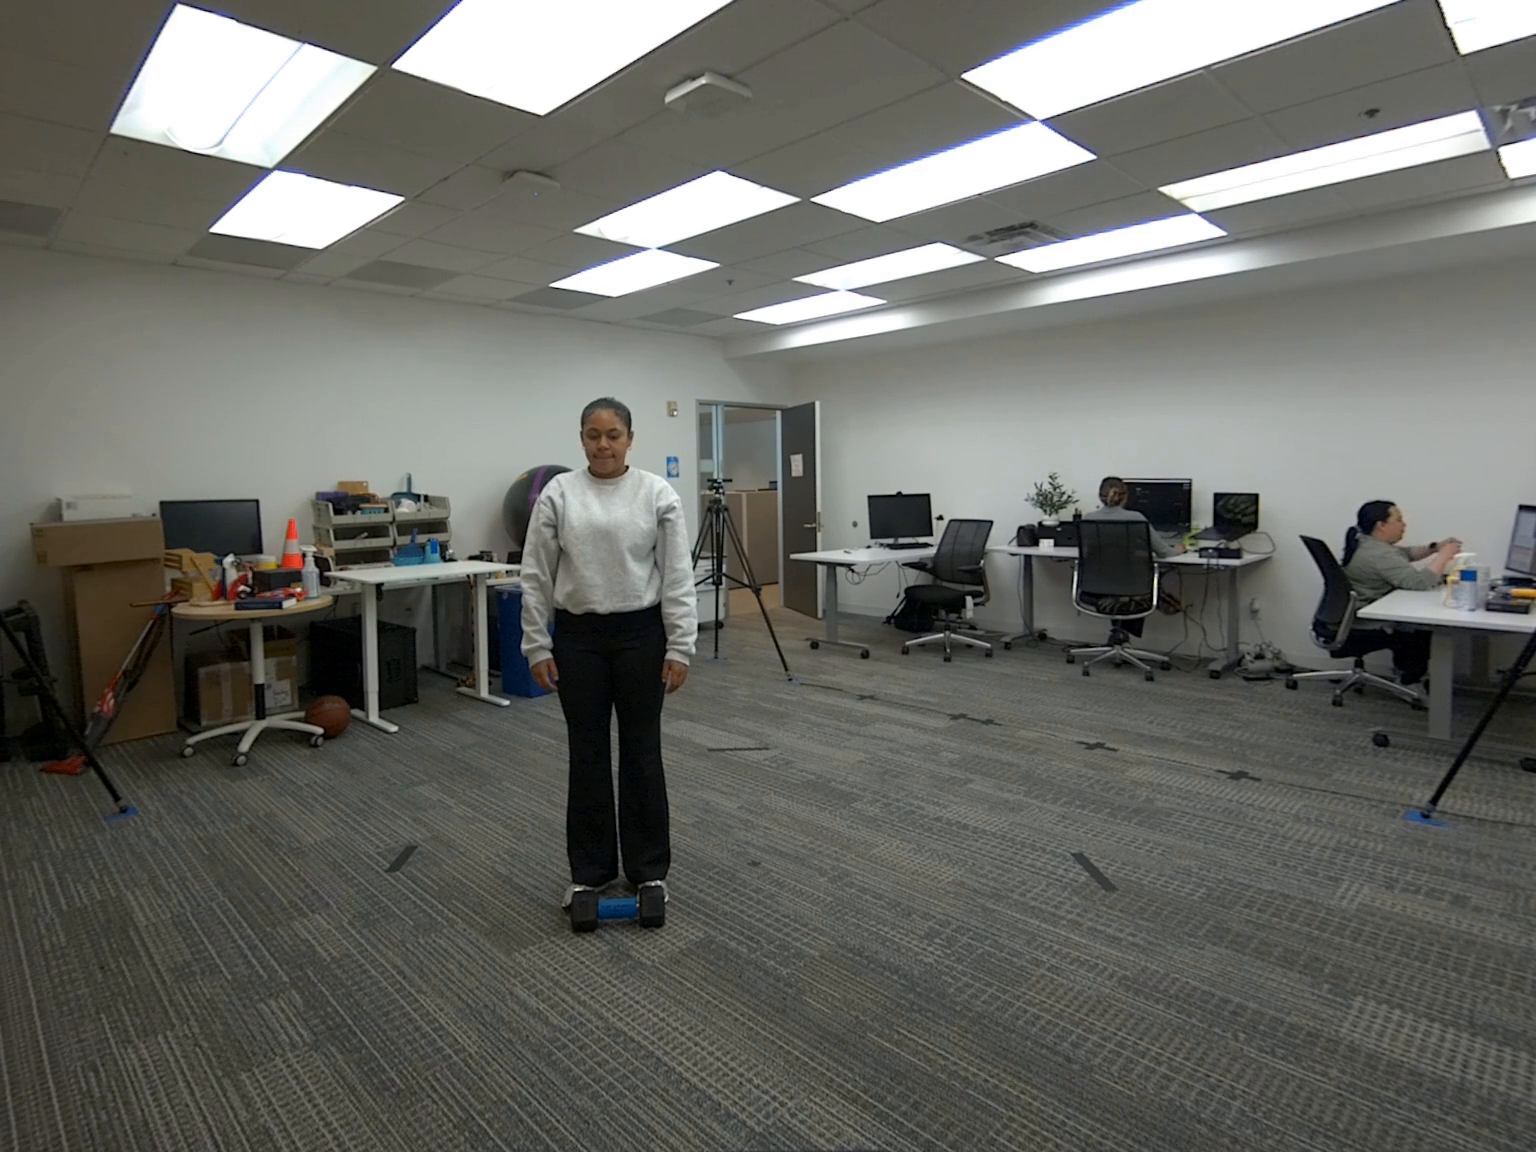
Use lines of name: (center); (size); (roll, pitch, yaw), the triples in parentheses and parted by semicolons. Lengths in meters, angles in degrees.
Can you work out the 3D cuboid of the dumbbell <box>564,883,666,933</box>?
dumbbell: (-0.472, 1.055, 2.695); (0.292, 0.126, 0.106); (-2, -27, -5)
